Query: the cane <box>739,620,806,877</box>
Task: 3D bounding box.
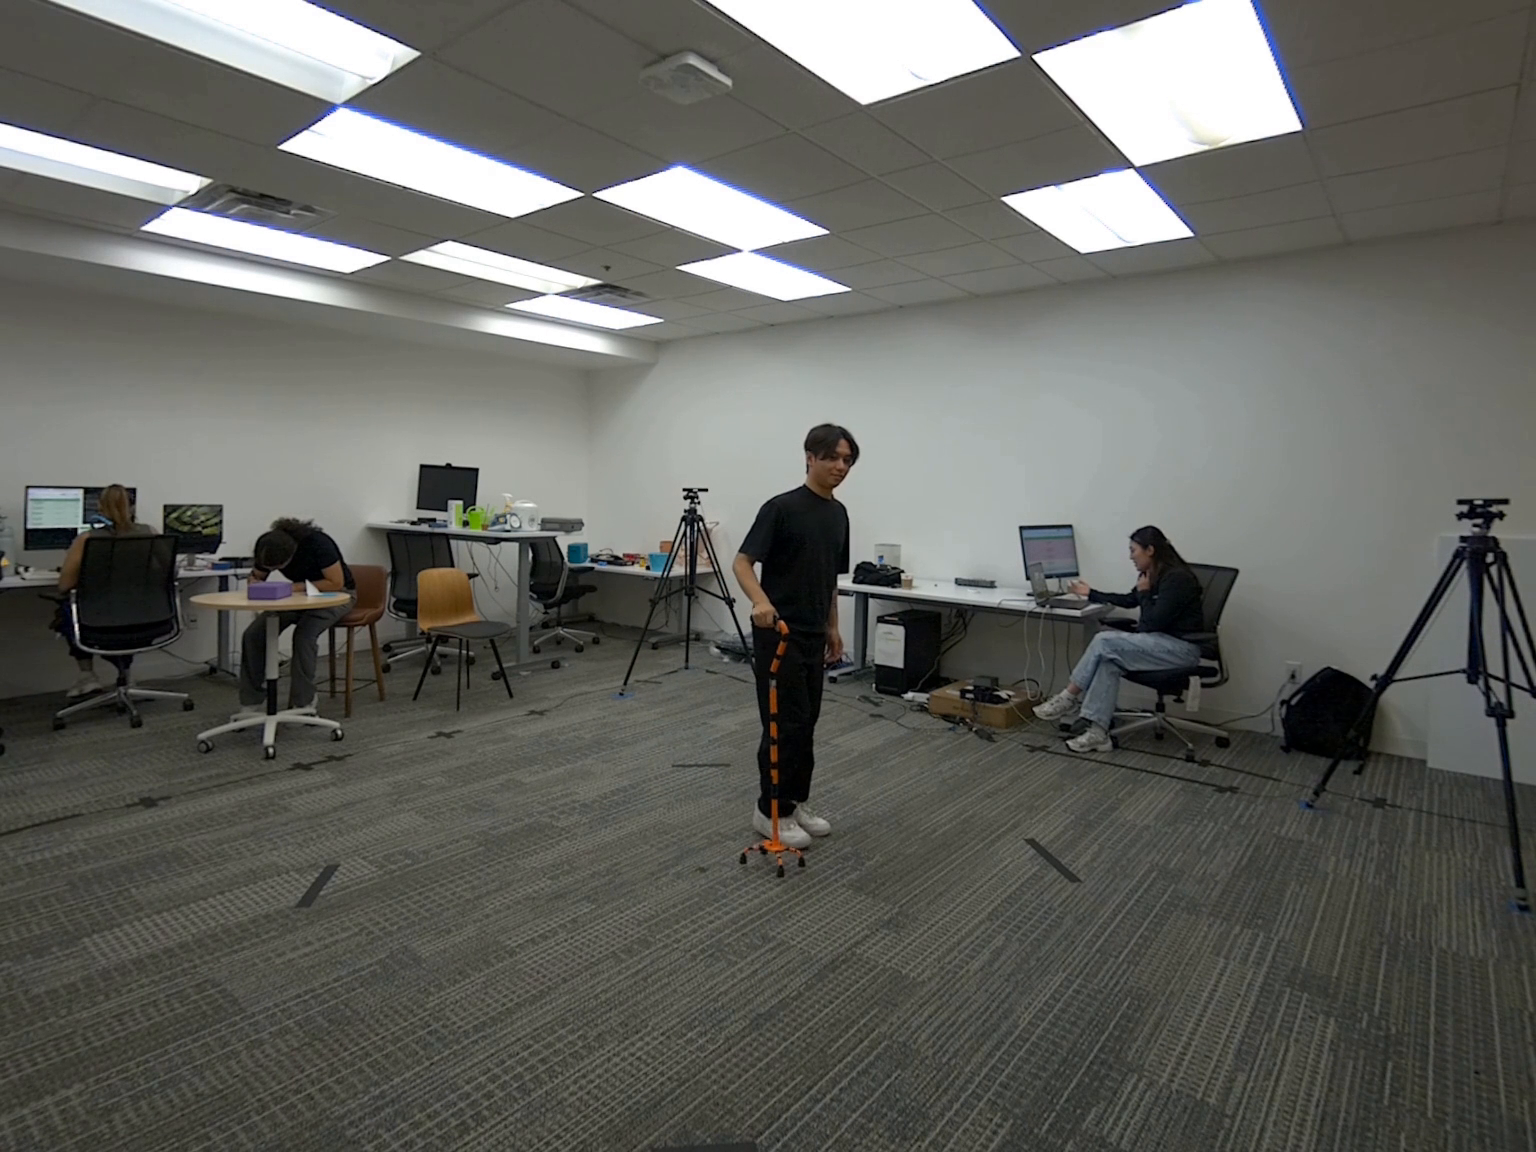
[{"bbox_3d":[0.005,0.604,3.107,0.213,0.907,0.147,0,1,37],"label":"cane"}]
